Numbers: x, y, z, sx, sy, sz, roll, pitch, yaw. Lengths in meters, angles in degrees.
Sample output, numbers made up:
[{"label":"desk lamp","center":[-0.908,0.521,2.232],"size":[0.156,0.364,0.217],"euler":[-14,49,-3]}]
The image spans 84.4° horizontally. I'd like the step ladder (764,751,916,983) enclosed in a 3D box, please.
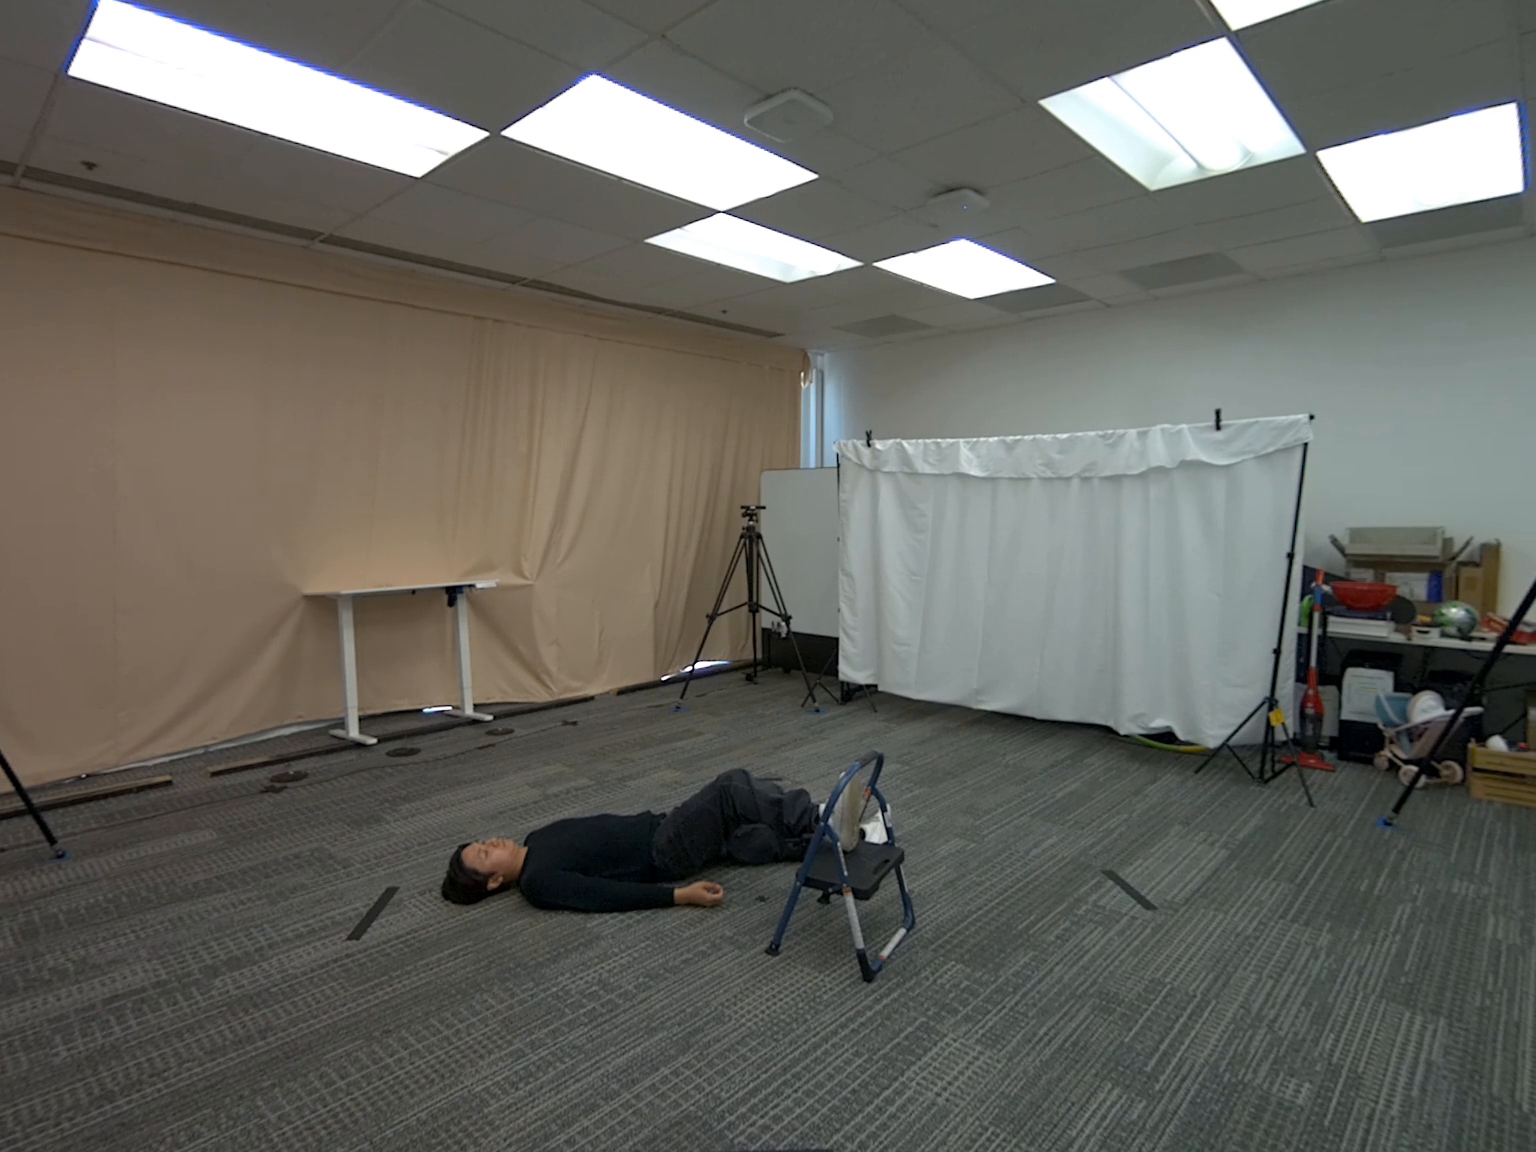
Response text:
[{"label":"step ladder","center":[0.247,0.866,2.693],"size":[0.359,0.605,0.419],"euler":[1,4,29]}]
